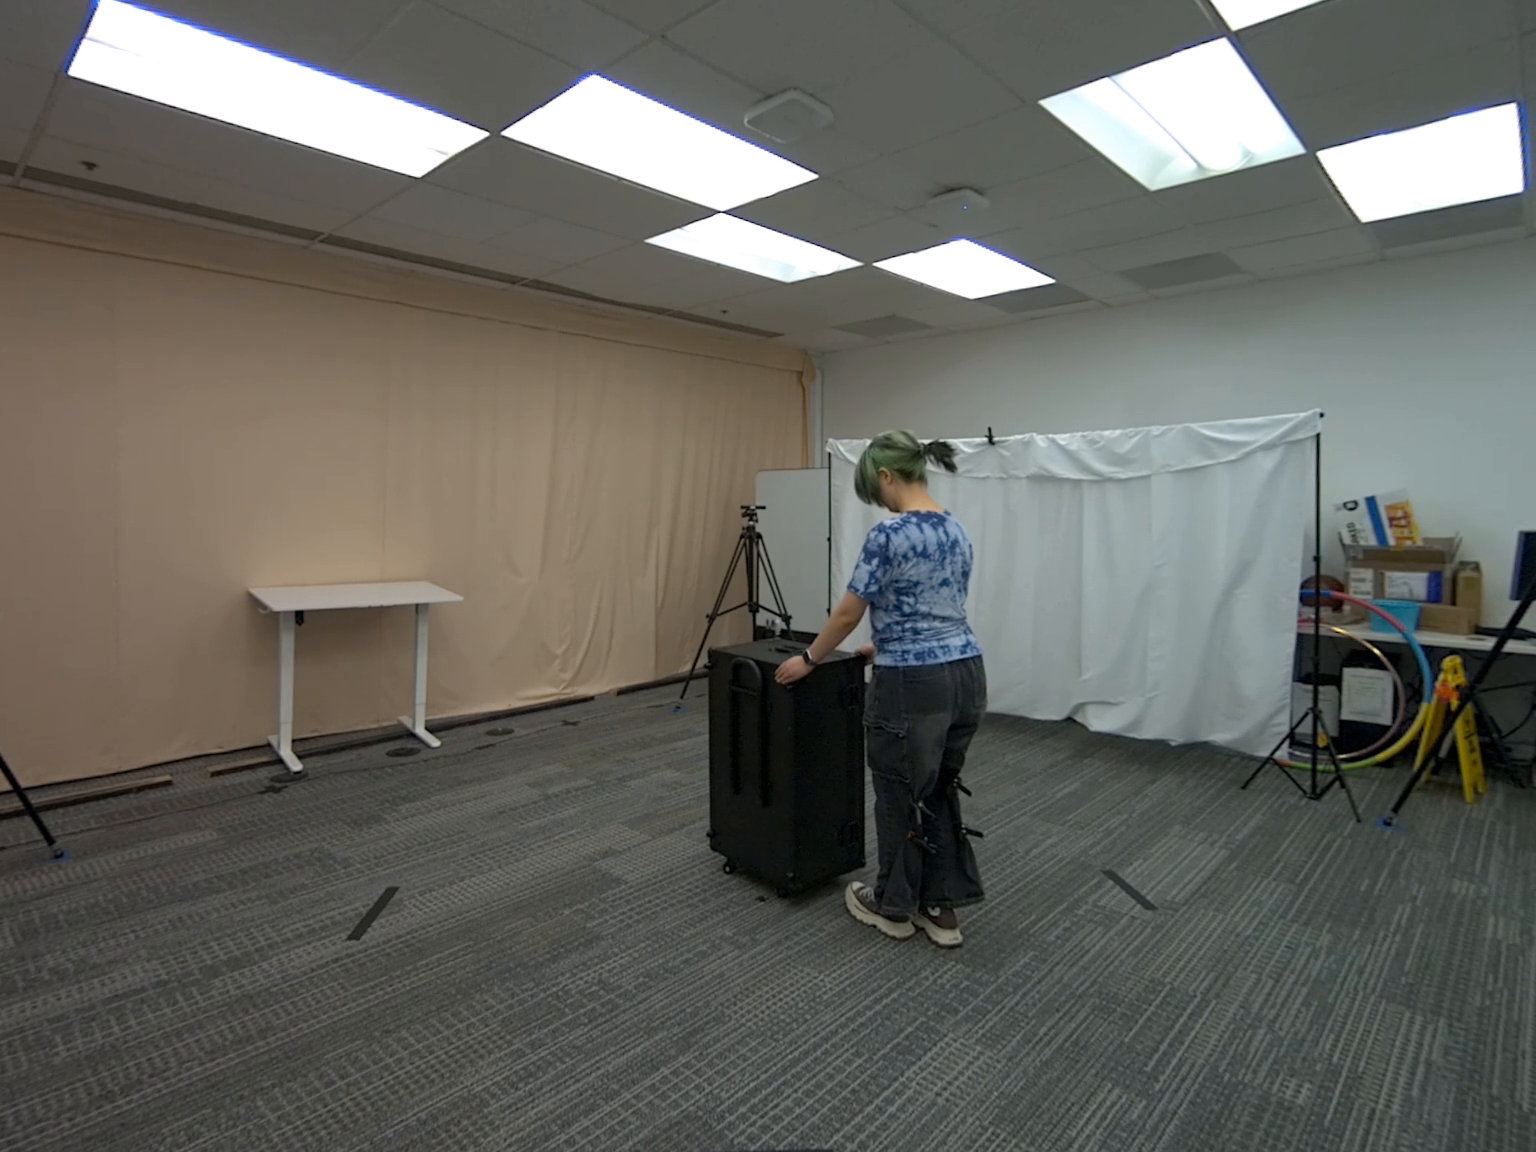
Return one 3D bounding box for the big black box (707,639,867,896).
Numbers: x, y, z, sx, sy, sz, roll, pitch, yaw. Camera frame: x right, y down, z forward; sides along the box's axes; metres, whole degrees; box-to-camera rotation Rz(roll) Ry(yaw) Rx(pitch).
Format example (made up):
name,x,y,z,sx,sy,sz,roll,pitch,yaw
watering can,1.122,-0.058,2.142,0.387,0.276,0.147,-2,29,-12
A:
name,x,y,z,sx,sy,sz,roll,pitch,yaw
big black box,0.061,0.704,3.132,0.384,0.859,0.538,-4,6,-40
